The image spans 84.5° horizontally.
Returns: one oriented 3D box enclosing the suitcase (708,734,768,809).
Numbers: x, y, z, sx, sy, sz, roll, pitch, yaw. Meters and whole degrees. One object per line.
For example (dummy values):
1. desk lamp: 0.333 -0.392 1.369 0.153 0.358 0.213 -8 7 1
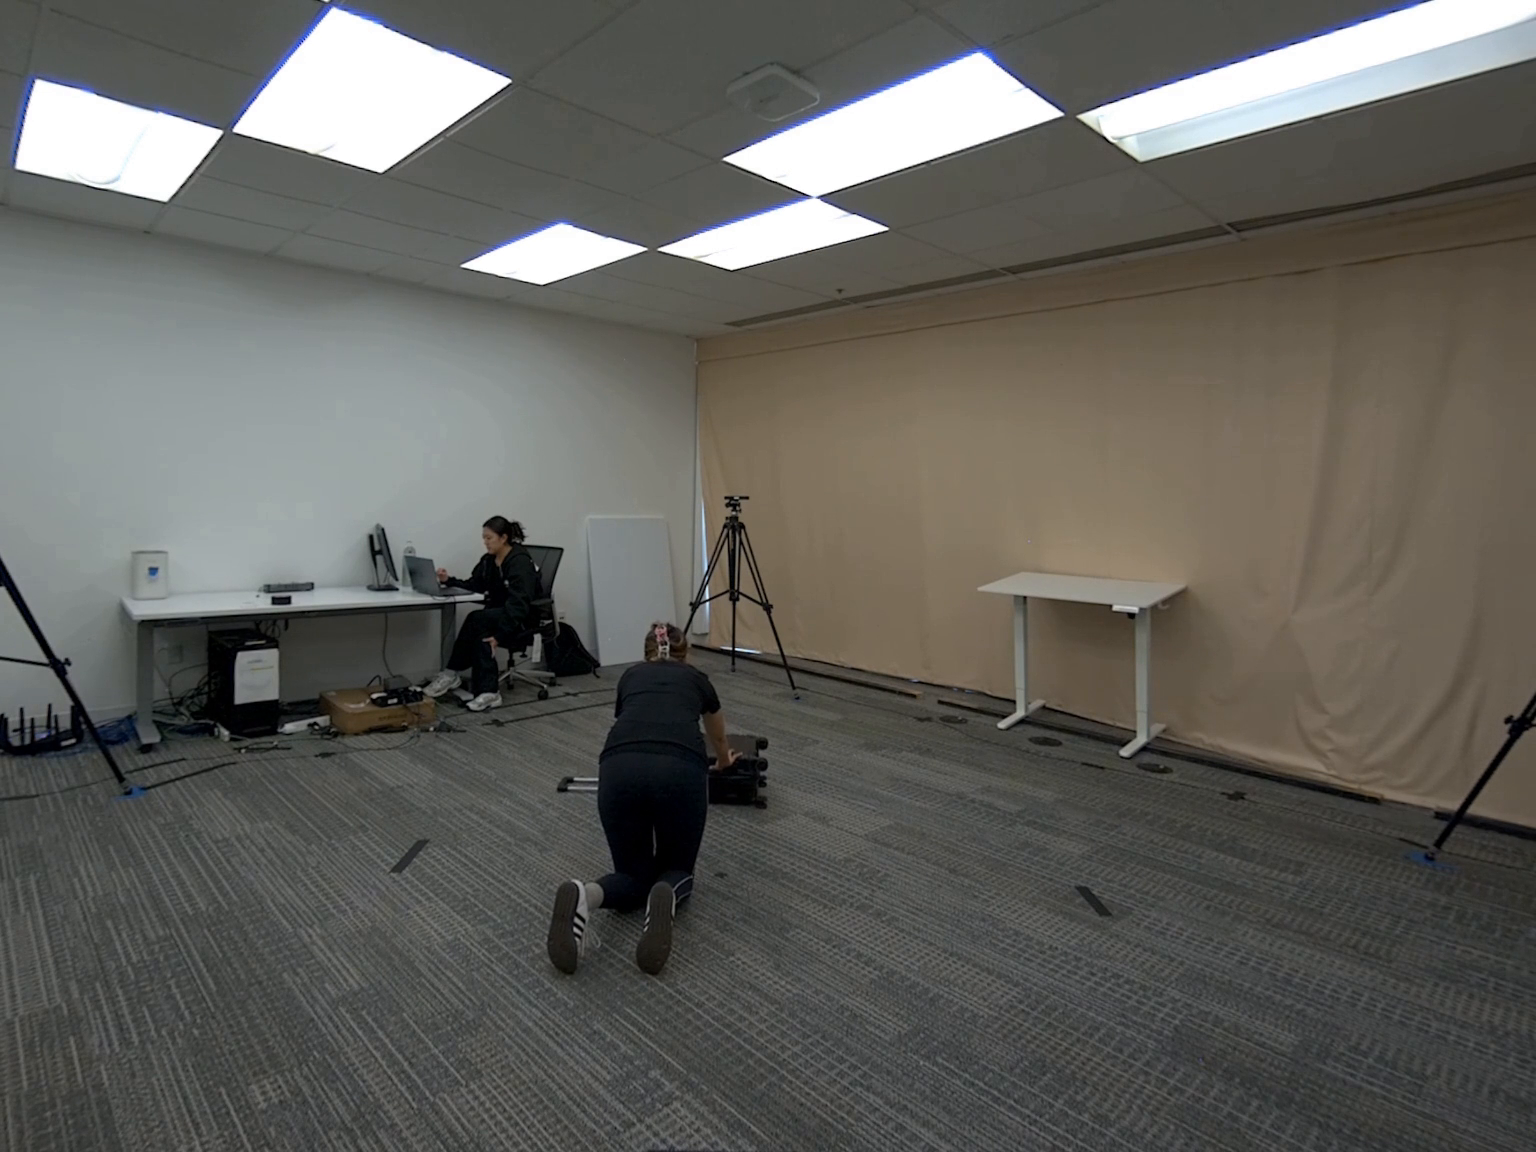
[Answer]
1. suitcase: -0.492 0.896 3.987 0.980 0.256 0.385 3 6 2
